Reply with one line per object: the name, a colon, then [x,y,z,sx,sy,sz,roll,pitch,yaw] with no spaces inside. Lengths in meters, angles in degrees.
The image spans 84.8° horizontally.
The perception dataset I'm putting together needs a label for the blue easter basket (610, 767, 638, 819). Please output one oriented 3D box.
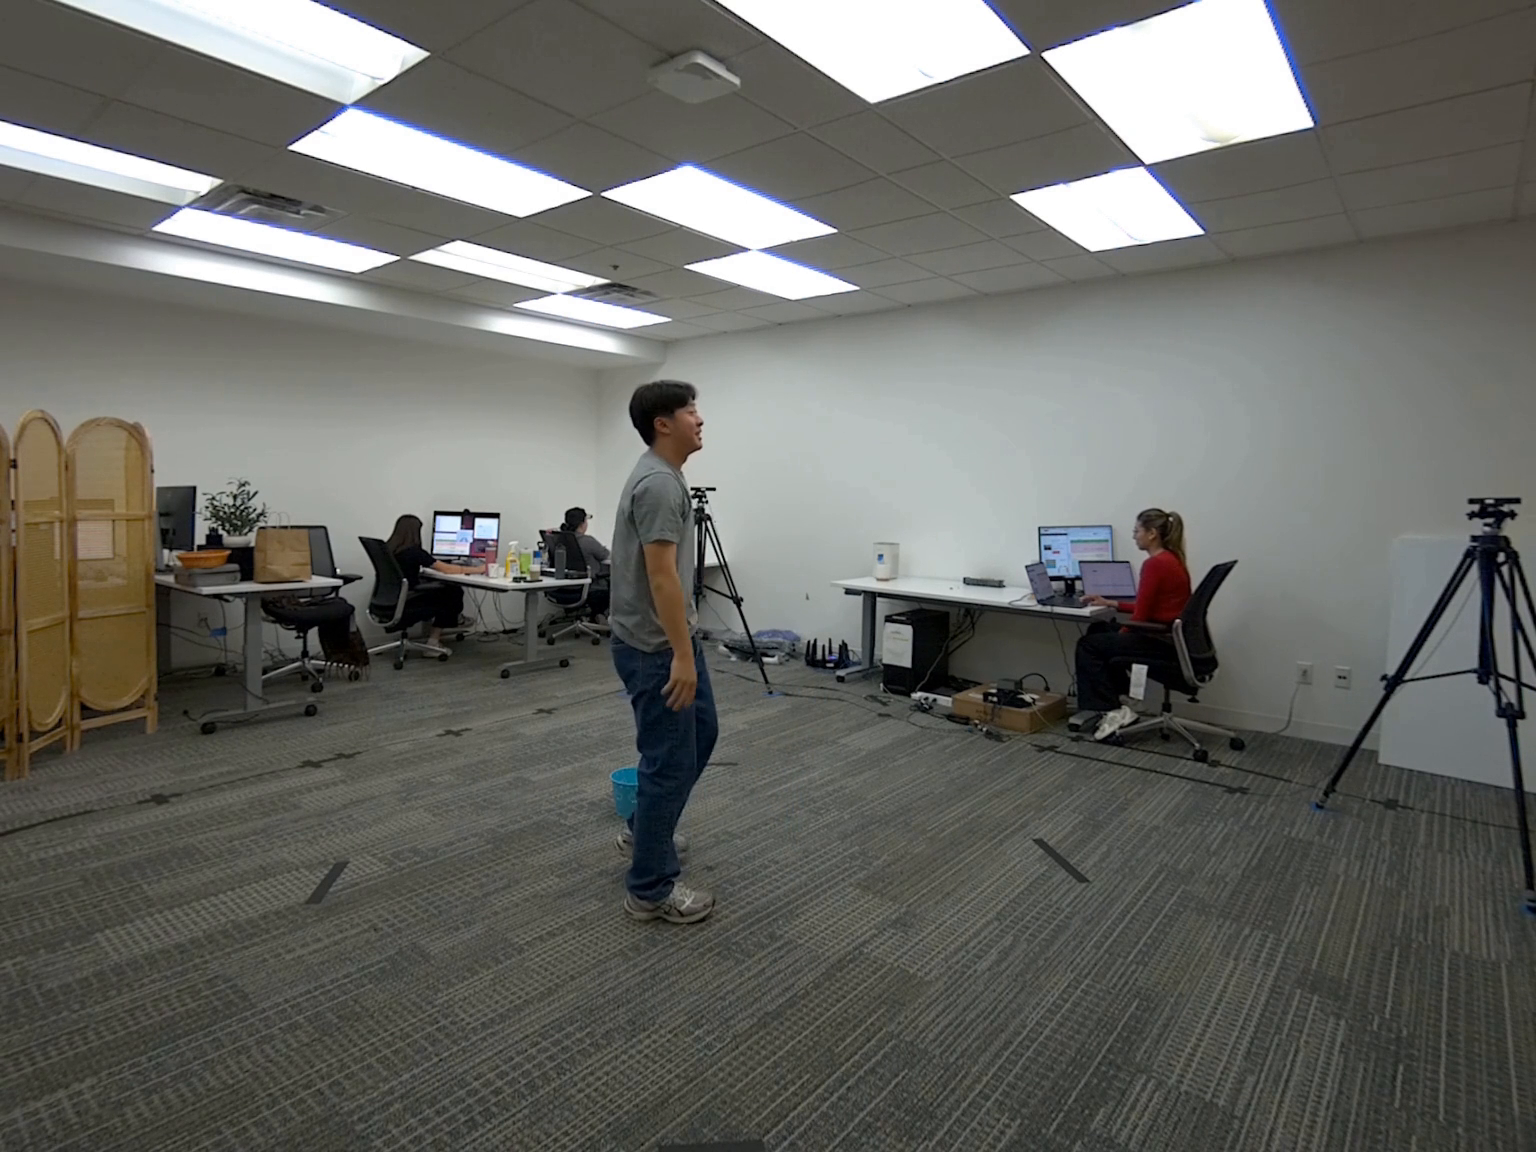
blue easter basket: [-0.578,0.927,3.663,0.243,0.155,0.245,1,4,-2]
